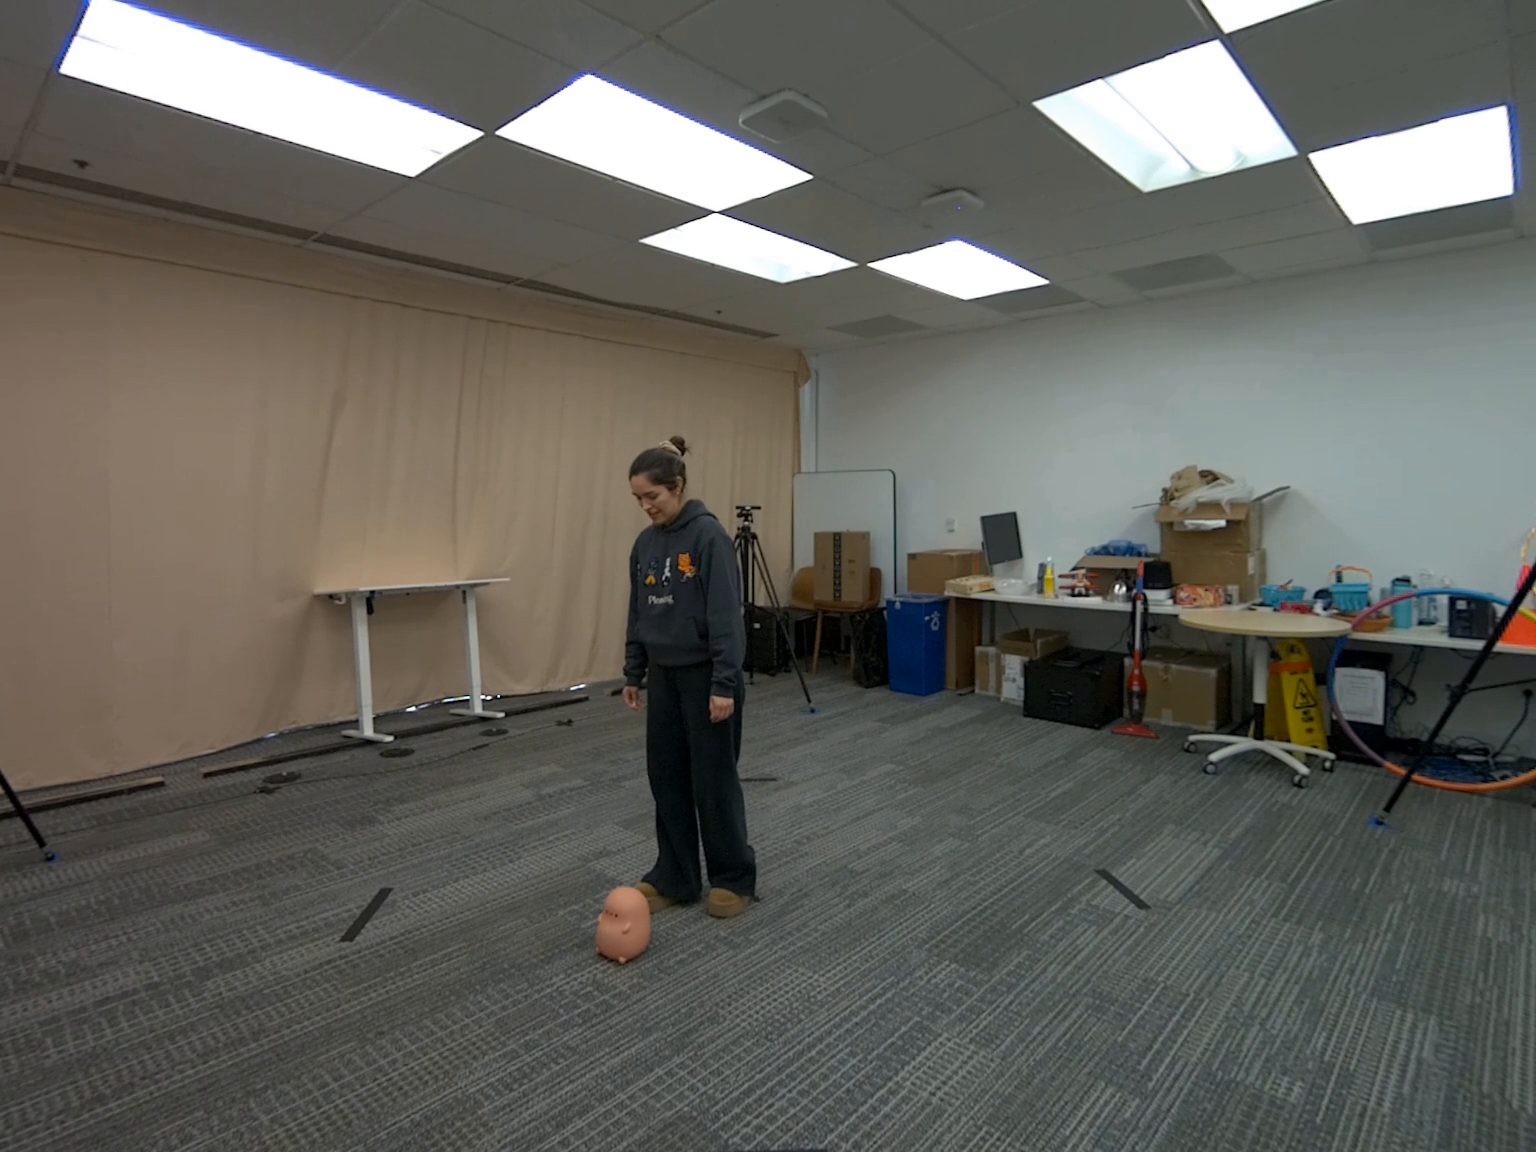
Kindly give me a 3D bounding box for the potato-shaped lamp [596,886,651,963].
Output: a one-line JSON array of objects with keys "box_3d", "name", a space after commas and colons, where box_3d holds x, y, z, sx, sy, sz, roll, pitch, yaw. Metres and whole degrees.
[{"box_3d": [-0.434, 1.081, 2.631, 0.170, 0.198, 0.166, 0, 3, 40], "name": "potato-shaped lamp"}]
